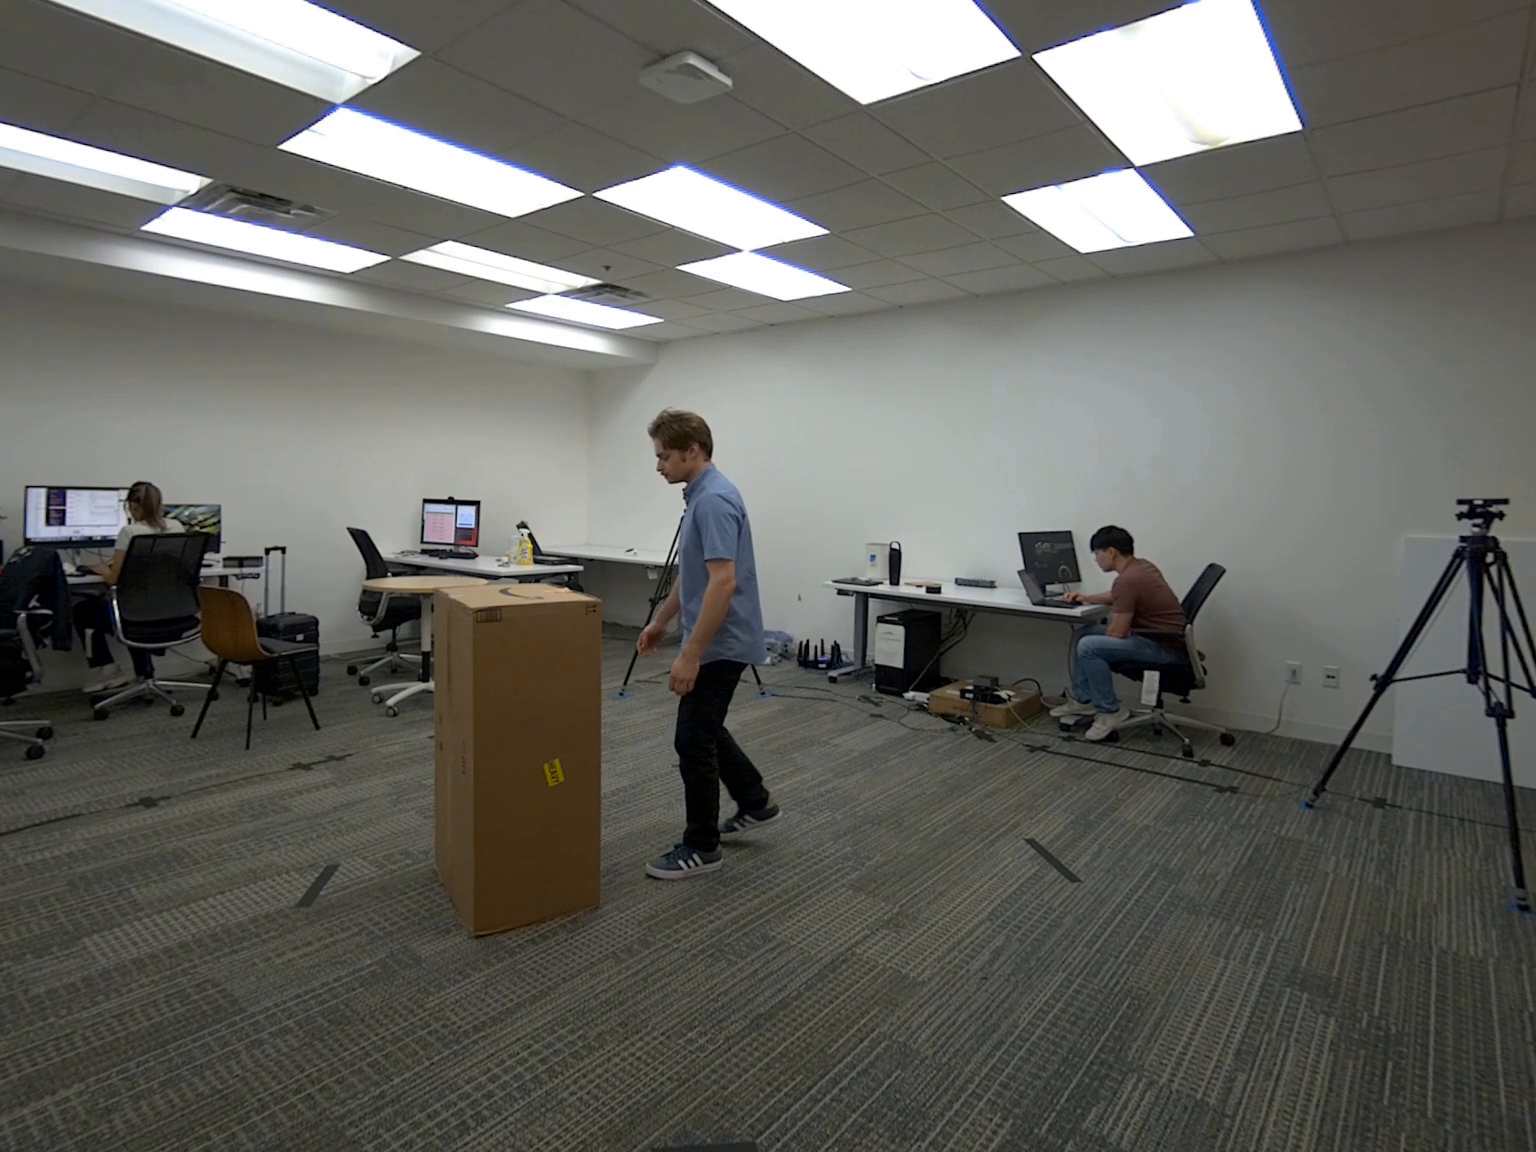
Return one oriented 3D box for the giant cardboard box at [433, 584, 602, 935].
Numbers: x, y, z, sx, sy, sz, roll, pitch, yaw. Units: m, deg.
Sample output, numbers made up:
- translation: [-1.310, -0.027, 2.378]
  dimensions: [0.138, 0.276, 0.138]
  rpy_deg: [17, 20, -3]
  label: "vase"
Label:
- translation: [-0.885, 0.569, 2.926]
  dimensions: [0.414, 1.023, 0.595]
  rpy_deg: [-2, 4, -32]
  label: "giant cardboard box"
